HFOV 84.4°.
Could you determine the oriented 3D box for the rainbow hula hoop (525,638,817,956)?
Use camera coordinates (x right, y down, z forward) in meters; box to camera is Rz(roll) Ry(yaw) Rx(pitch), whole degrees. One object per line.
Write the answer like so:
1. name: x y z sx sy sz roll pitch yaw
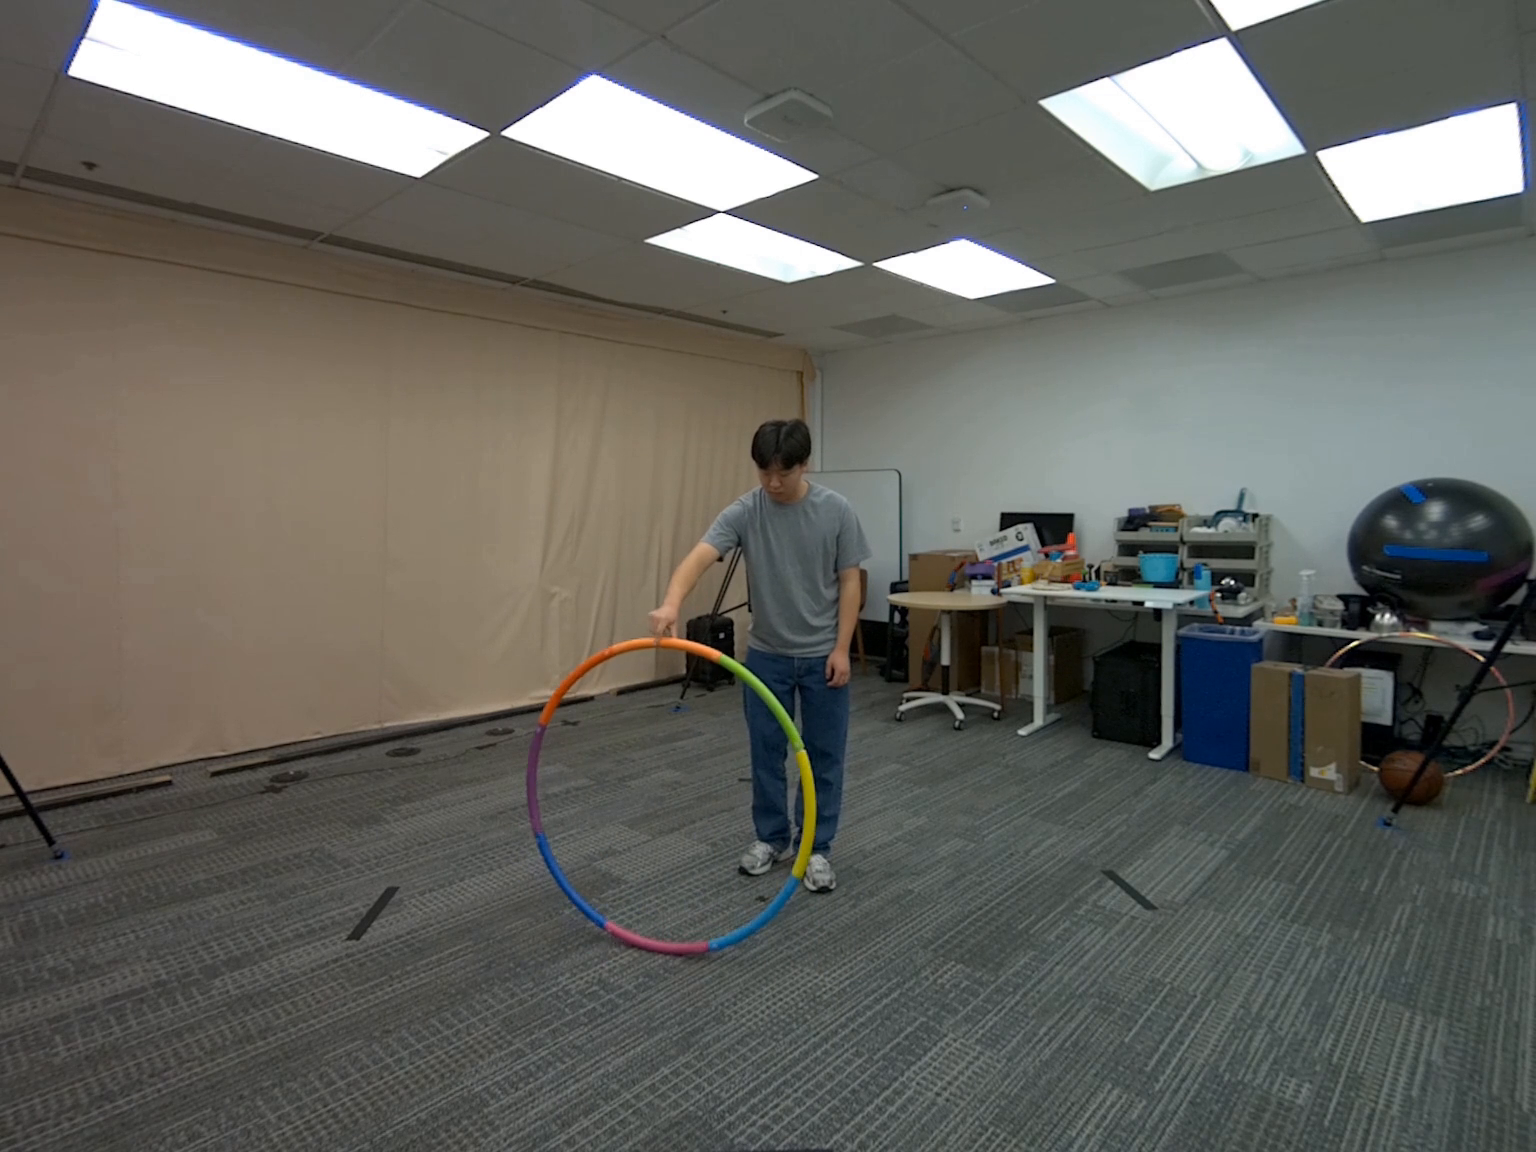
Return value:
1. rainbow hula hoop: -0.337 0.688 2.660 0.999 0.980 0.035 1 -3 20
